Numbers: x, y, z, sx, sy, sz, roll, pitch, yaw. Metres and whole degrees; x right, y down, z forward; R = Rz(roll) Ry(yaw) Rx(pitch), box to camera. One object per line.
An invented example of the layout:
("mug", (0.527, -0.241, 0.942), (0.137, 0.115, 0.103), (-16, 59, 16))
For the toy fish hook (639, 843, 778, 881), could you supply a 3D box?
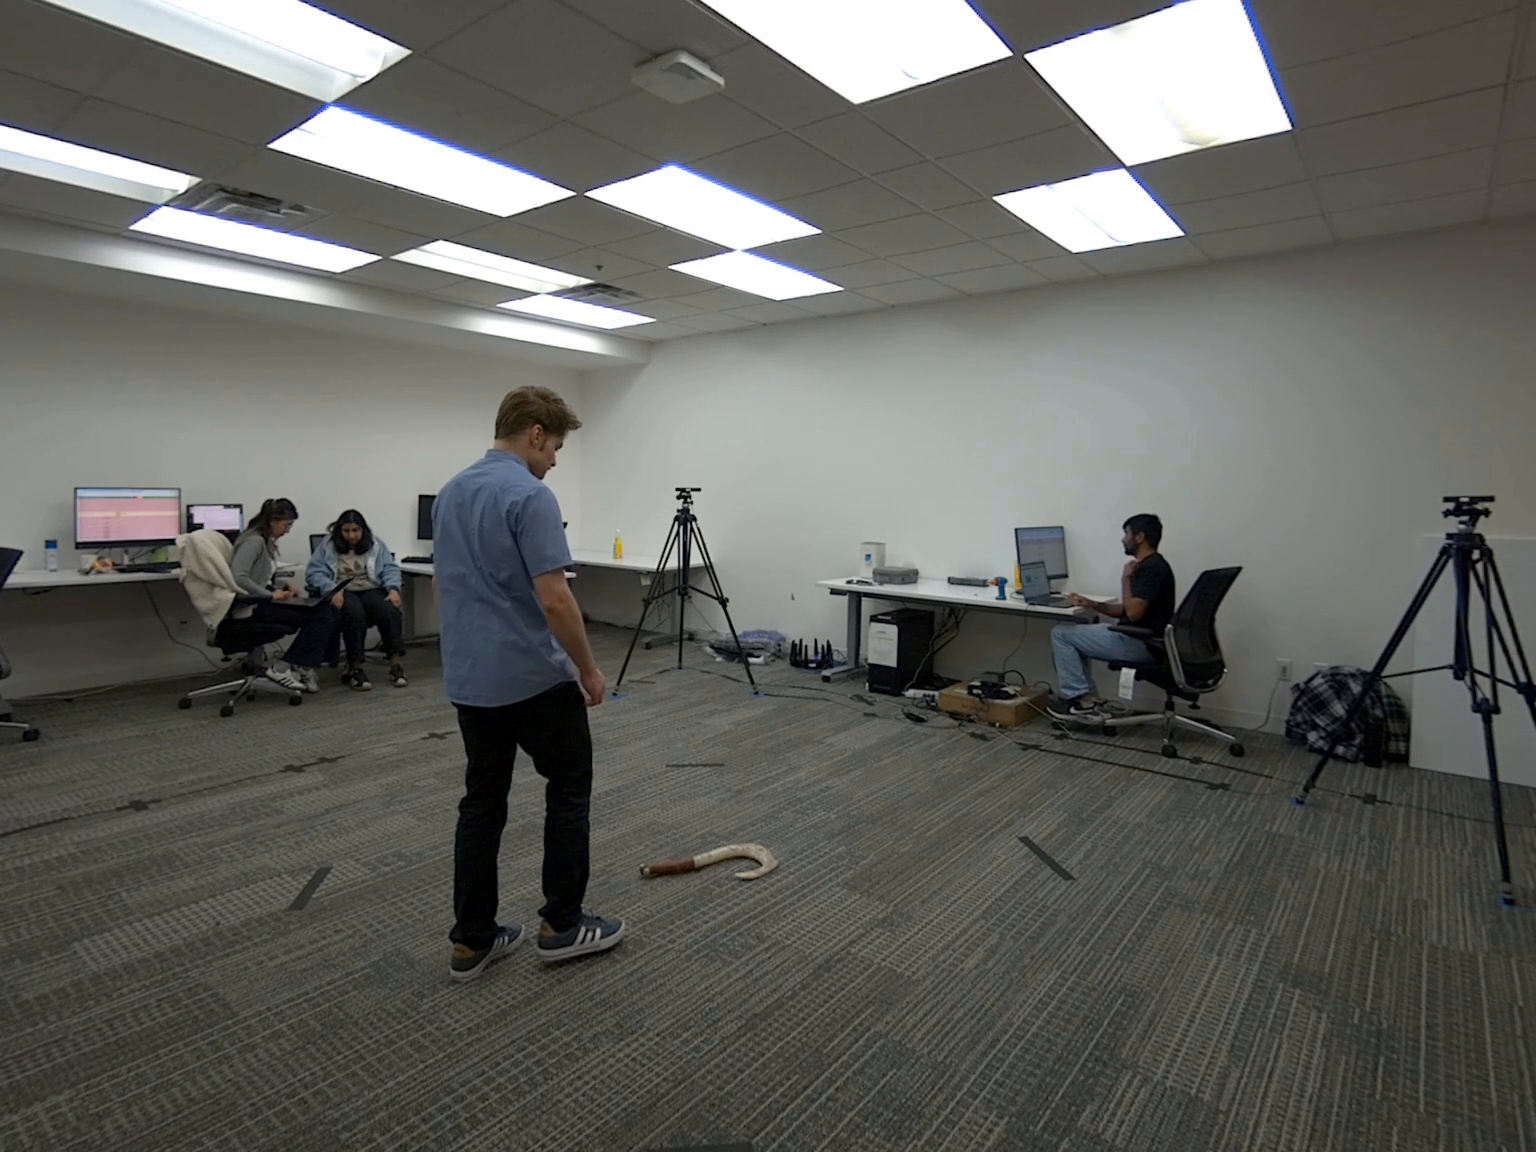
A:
("toy fish hook", (-0.216, 1.048, 3.081), (0.495, 0.048, 0.231), (-2, 6, -24))
